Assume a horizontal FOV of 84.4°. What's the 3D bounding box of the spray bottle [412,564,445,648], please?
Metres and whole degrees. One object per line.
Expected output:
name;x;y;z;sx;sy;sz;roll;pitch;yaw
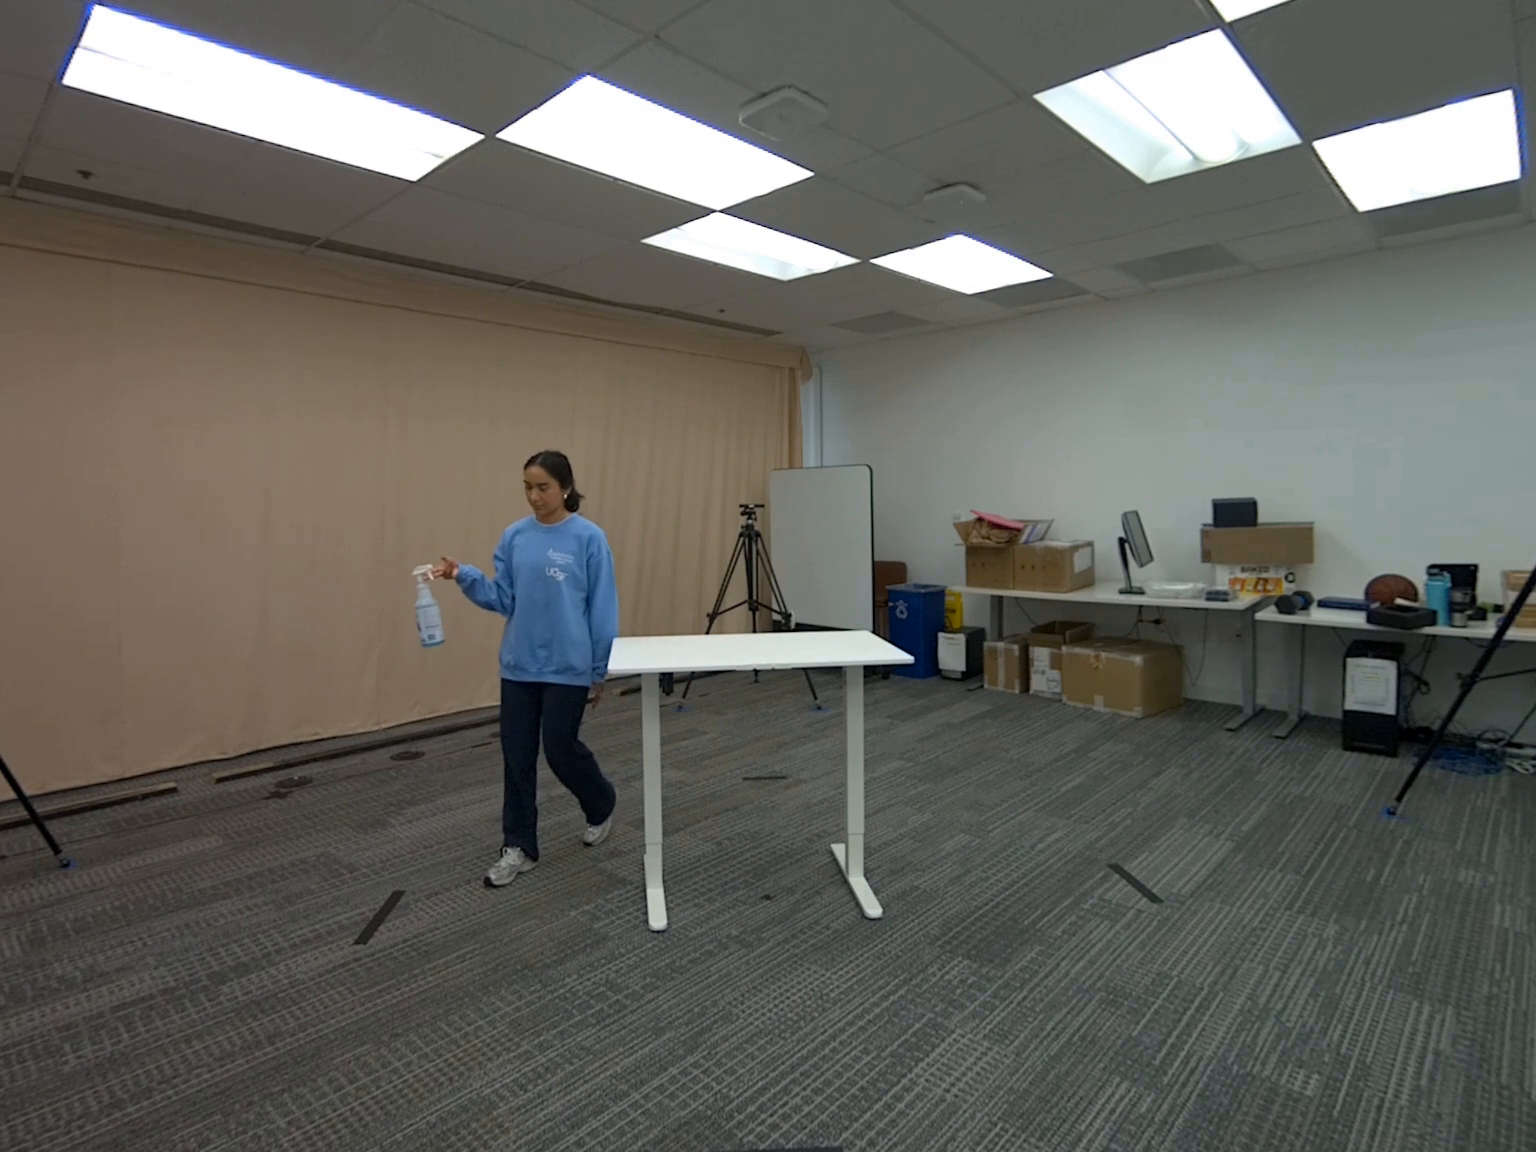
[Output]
spray bottle;-1.258;0.112;3.101;0.093;0.296;0.084;2;9;44
